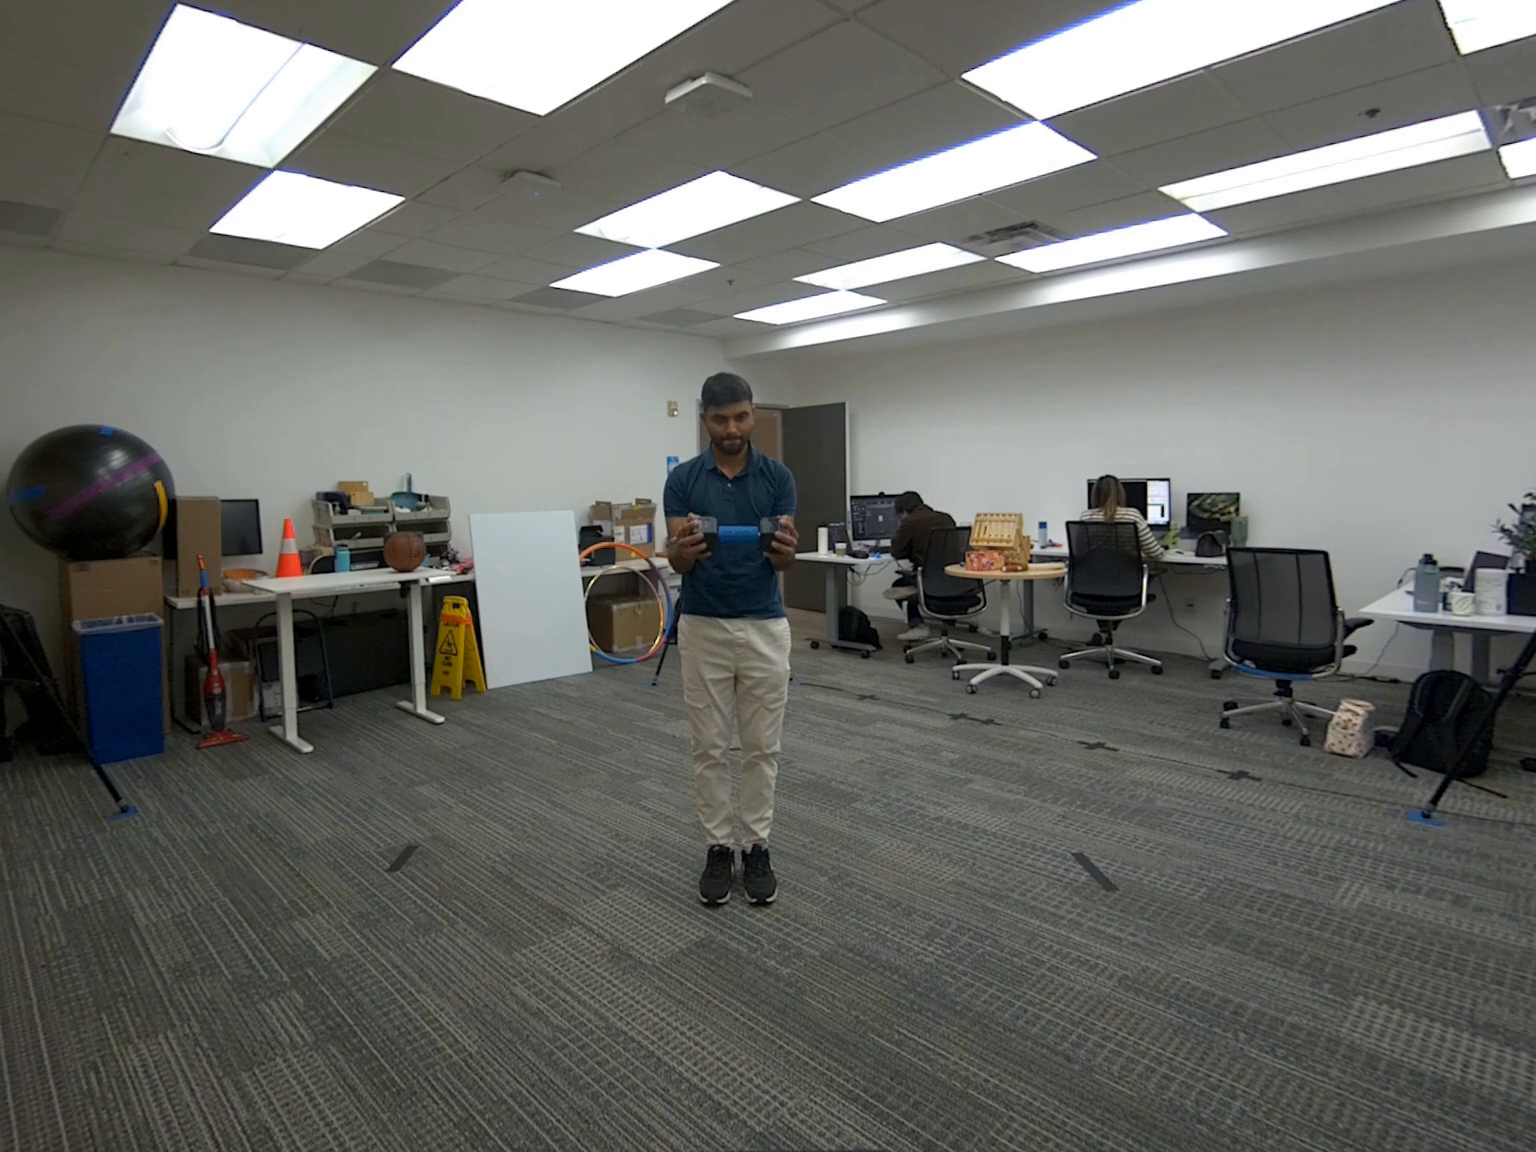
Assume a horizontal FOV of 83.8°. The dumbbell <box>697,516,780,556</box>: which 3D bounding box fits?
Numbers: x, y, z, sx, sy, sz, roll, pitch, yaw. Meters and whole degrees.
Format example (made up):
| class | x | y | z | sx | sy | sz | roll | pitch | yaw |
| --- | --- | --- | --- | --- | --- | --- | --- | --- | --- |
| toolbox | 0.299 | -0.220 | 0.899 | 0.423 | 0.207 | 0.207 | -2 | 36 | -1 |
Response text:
| class | x | y | z | sx | sy | sz | roll | pitch | yaw |
| --- | --- | --- | --- | --- | --- | --- | --- | --- | --- |
| dumbbell | -0.110 | -0.122 | 2.651 | 0.294 | 0.126 | 0.106 | 1 | -33 | 2 |
